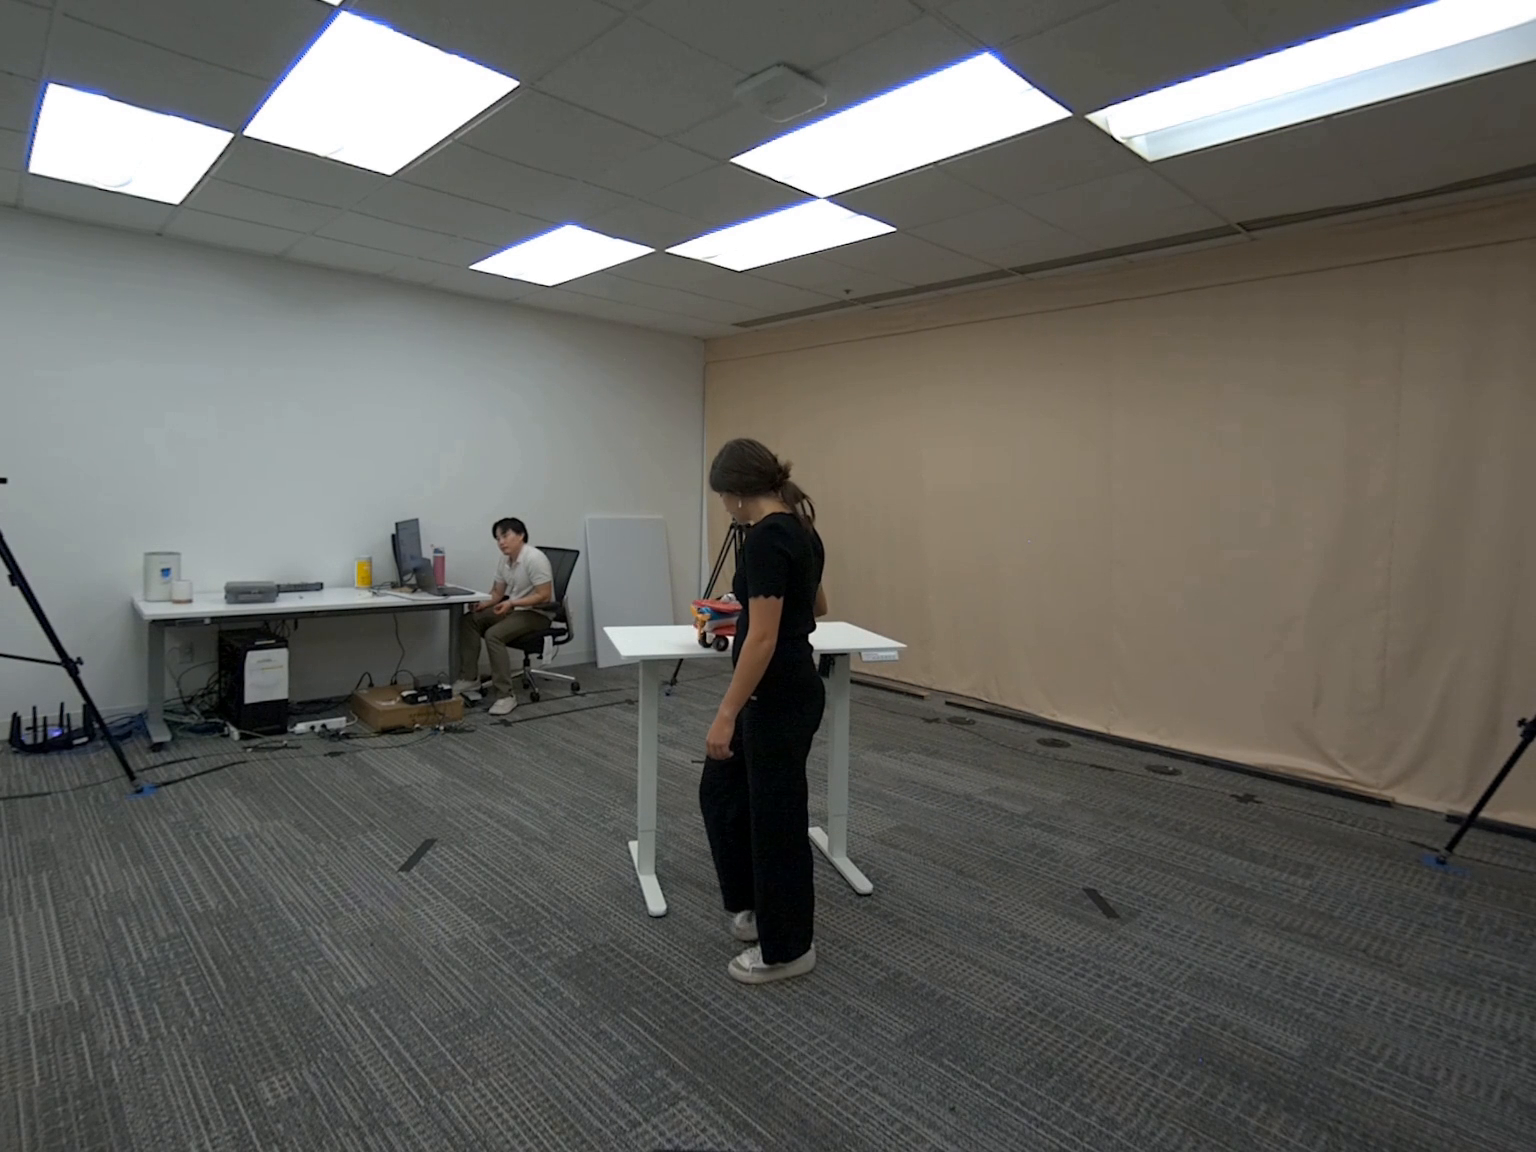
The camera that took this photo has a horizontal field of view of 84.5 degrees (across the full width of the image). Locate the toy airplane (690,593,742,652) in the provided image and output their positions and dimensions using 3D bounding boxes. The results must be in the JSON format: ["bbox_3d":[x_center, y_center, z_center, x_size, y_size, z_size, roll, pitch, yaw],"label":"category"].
[{"bbox_3d":[-0.154,0.145,2.875,0.255,0.154,0.258,-5,17,24],"label":"toy airplane"}]
